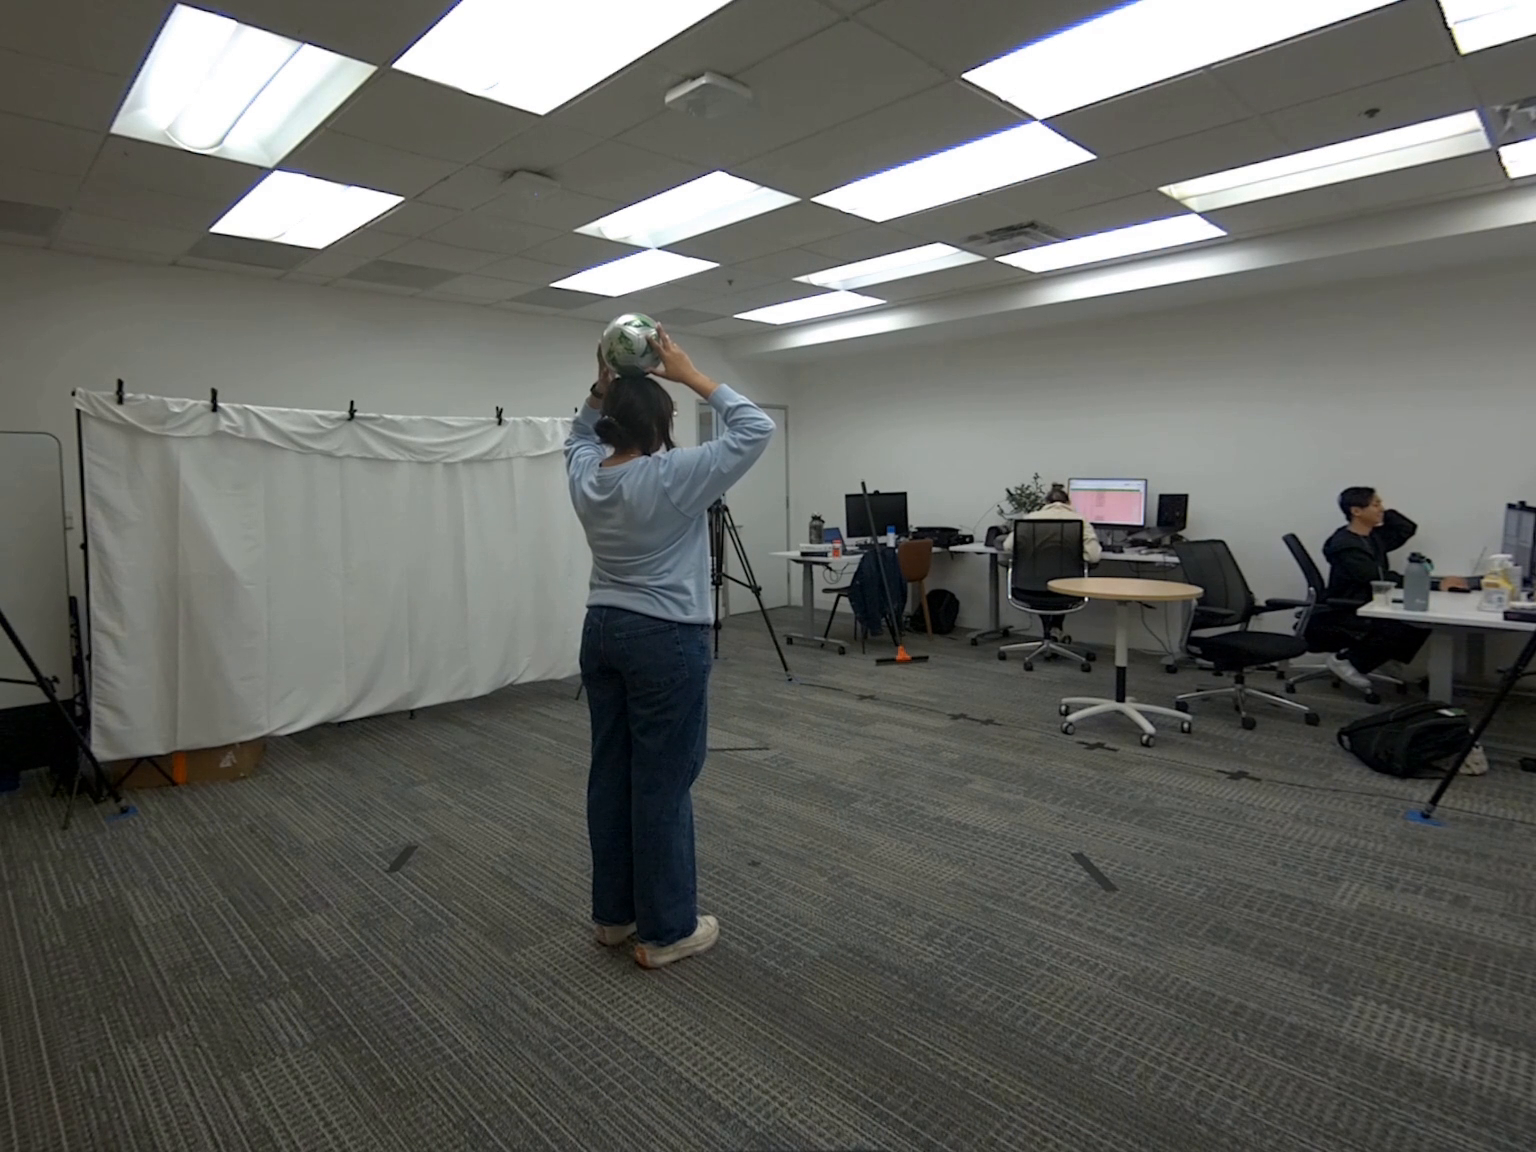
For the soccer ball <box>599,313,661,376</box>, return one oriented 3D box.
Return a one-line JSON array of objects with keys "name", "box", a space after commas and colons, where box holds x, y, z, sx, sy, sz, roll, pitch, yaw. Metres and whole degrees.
[{"name": "soccer ball", "box": [-0.389, -0.668, 2.489, 0.187, 0.187, 0.188, -1, 5, -2]}]
